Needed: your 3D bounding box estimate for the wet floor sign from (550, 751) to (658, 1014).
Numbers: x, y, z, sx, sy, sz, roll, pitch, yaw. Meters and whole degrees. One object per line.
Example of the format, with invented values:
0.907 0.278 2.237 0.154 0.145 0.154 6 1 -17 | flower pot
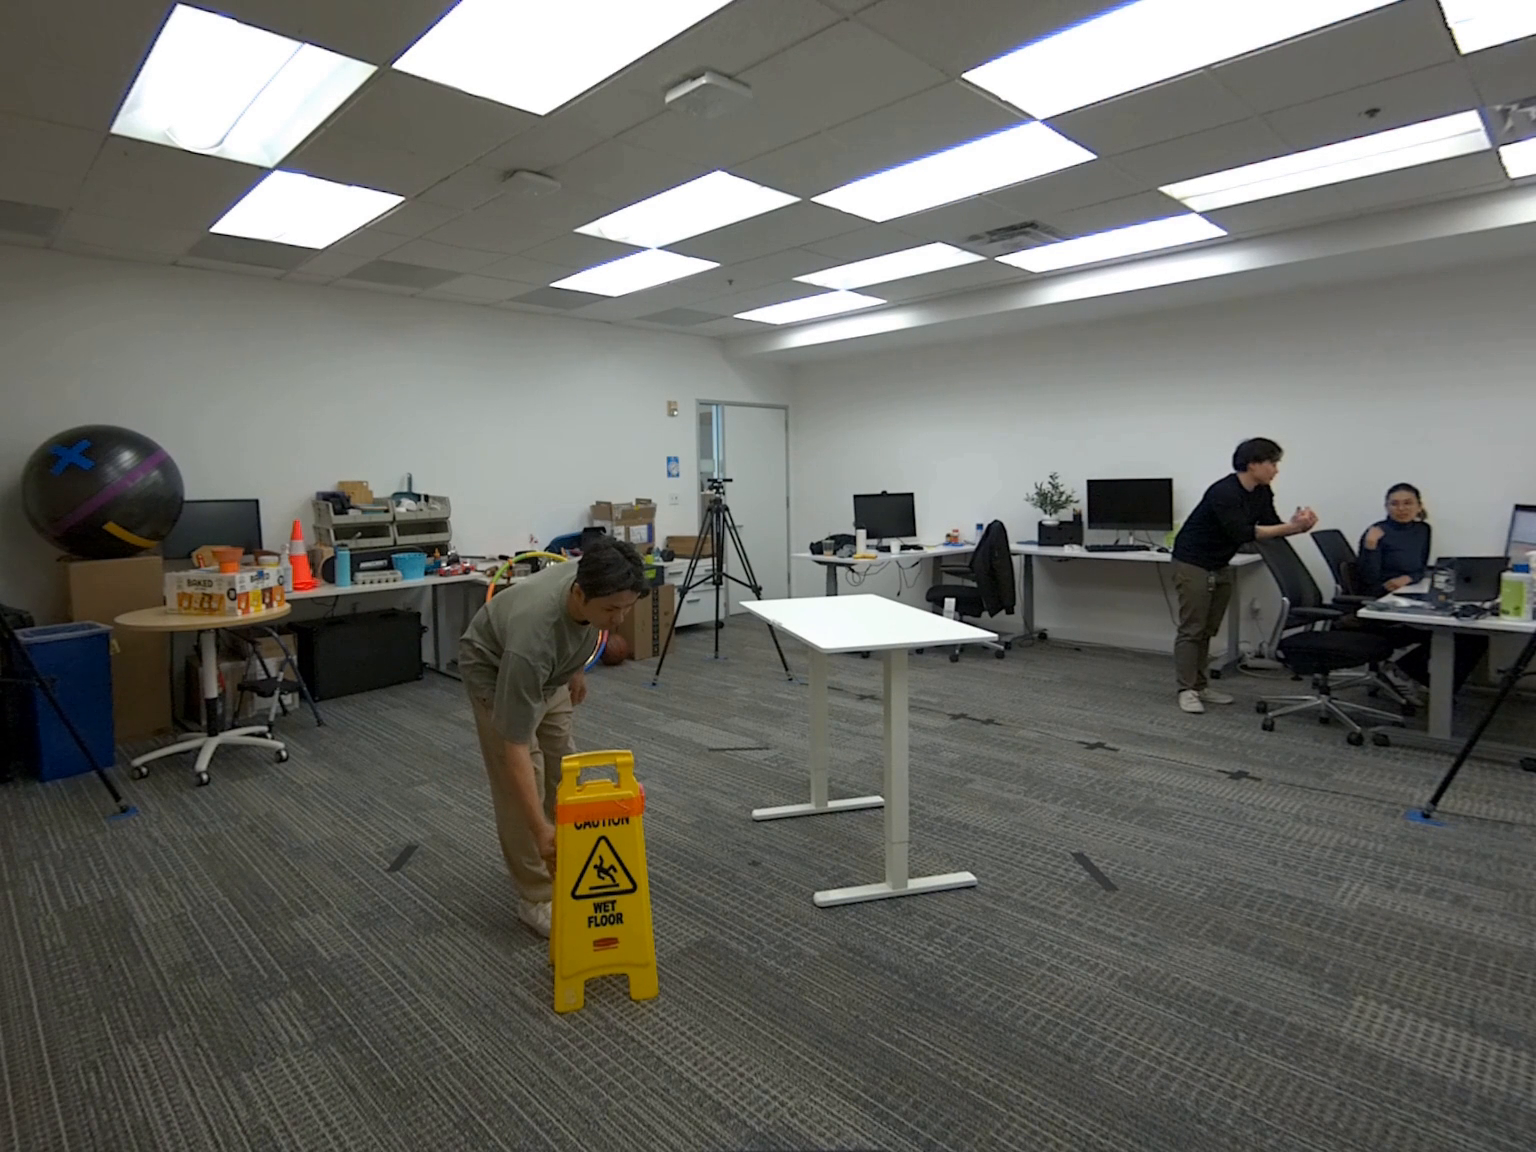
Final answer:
-0.466 0.814 2.374 0.278 0.642 0.295 -3 6 -15 | wet floor sign
